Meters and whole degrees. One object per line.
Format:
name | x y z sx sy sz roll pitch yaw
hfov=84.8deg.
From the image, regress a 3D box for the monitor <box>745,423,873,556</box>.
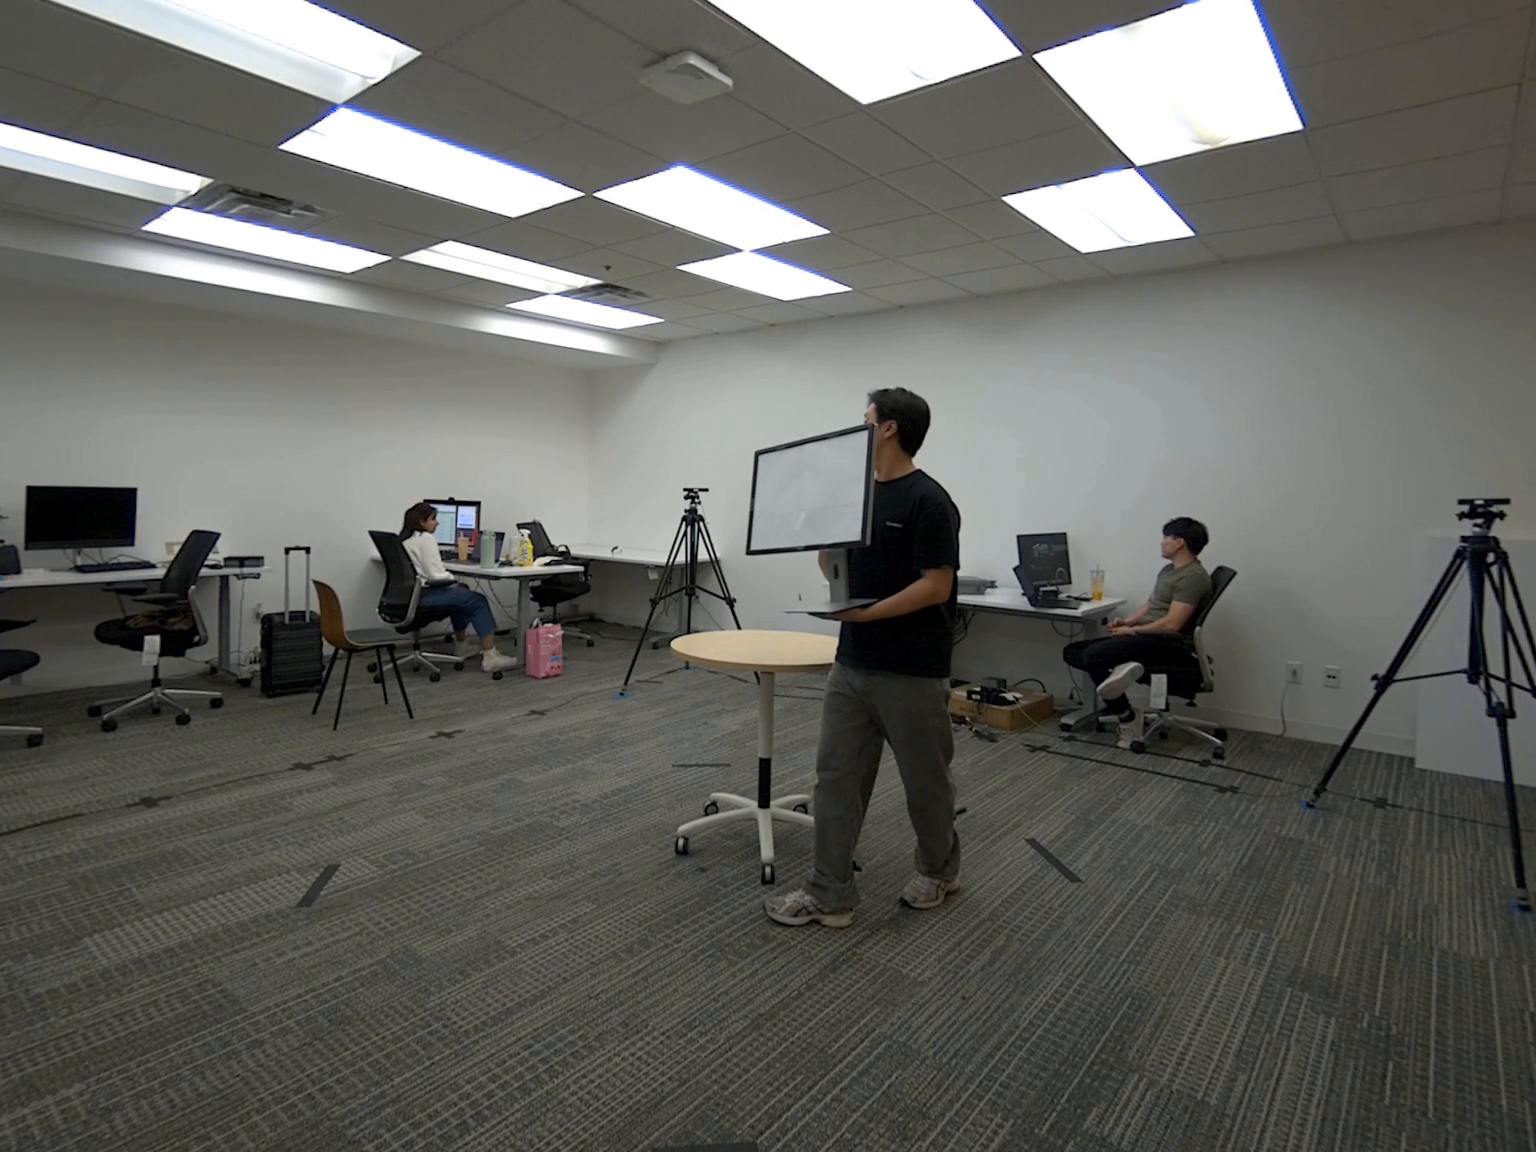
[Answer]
monitor | 0.149 -0.162 2.687 0.216 0.566 0.576 -8 1 -35
